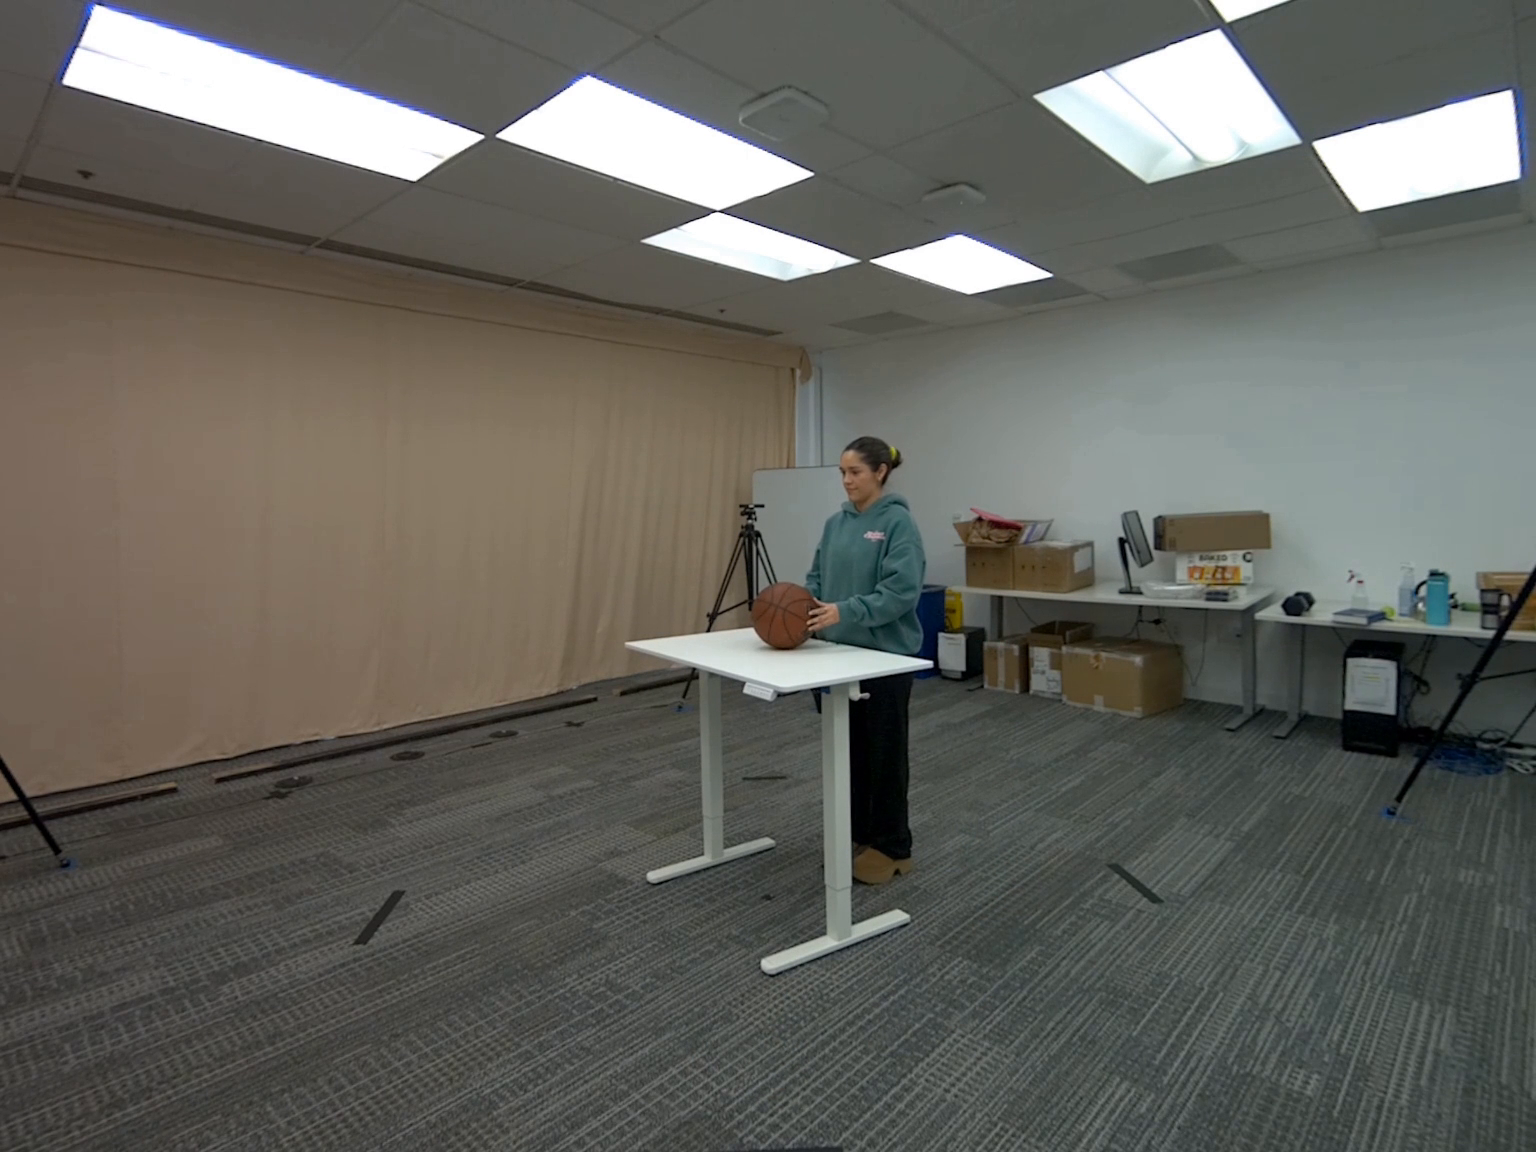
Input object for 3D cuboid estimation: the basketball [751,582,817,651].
[{"bbox_3d":[0.061,0.139,2.991,0.236,0.235,0.237,-1,4,-2],"label":"basketball"}]
